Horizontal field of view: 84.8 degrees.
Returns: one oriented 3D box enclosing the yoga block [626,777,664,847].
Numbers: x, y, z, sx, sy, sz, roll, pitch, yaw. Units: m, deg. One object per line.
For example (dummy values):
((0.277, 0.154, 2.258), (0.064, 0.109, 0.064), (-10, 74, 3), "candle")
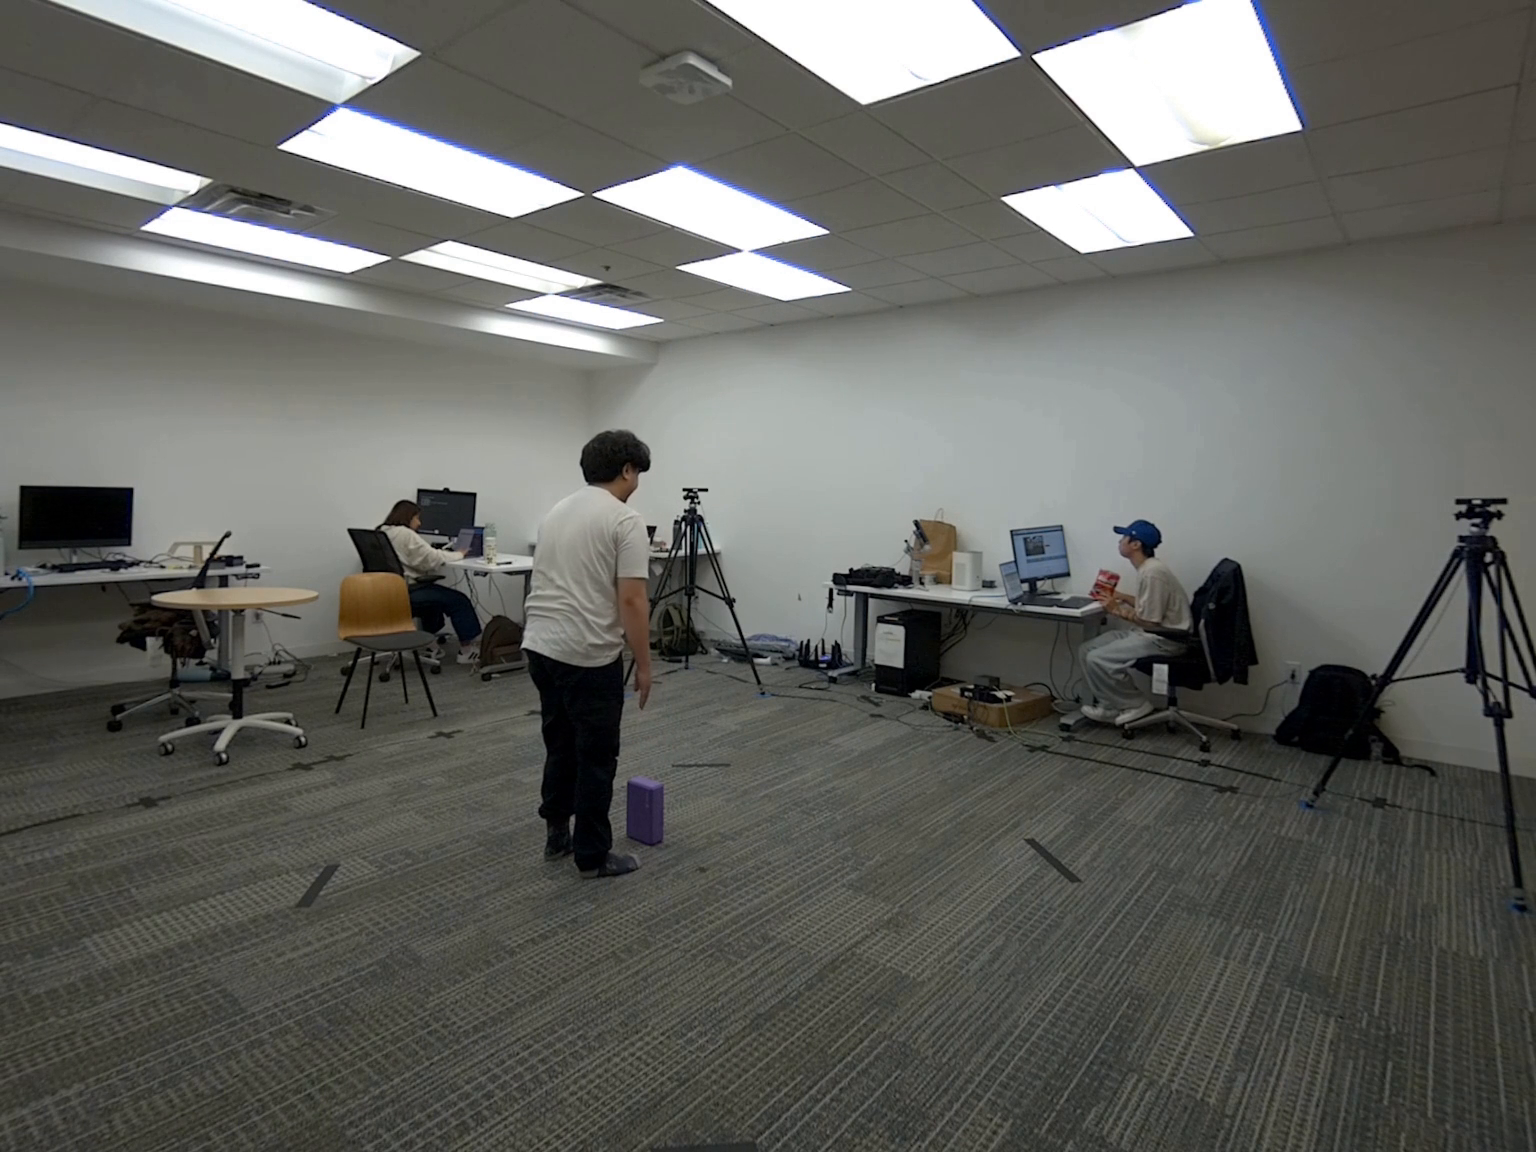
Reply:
((-0.501, 0.927, 3.372), (0.154, 0.229, 0.074), (2, 3, 38), "yoga block")
